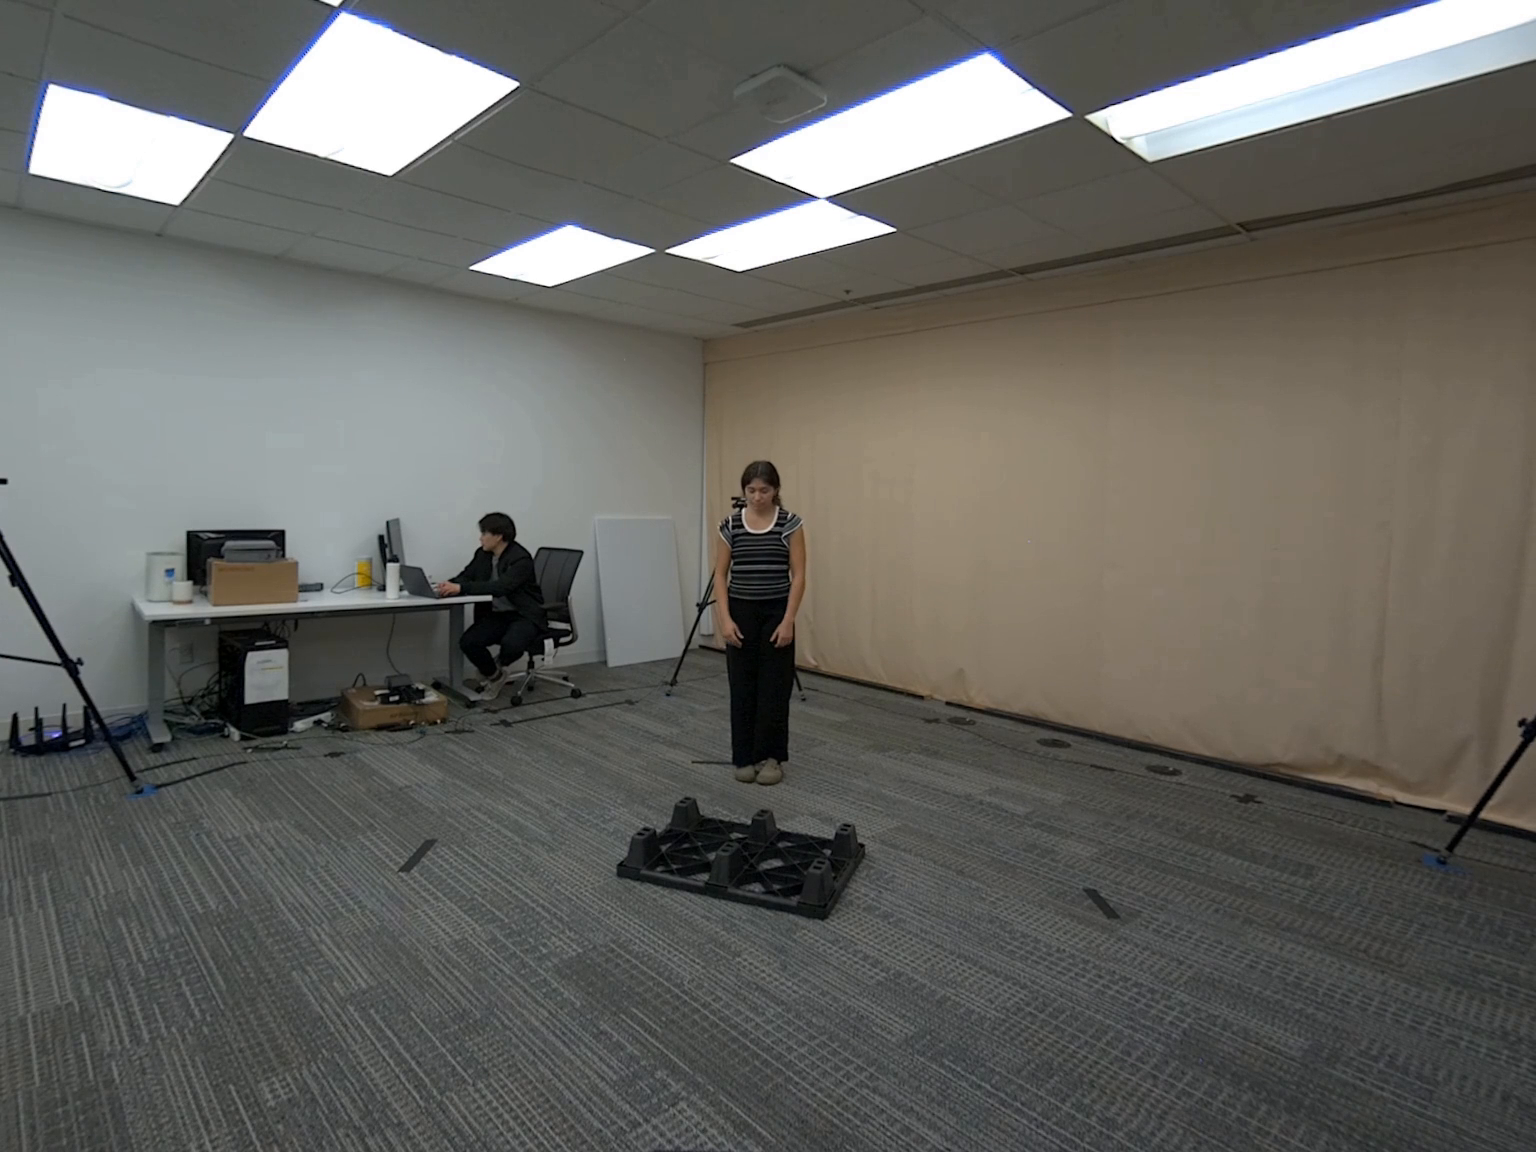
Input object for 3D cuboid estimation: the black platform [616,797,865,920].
[{"bbox_3d":[-0.091,1.033,3.205,0.819,0.143,0.597,3,6,20],"label":"black platform"}]
